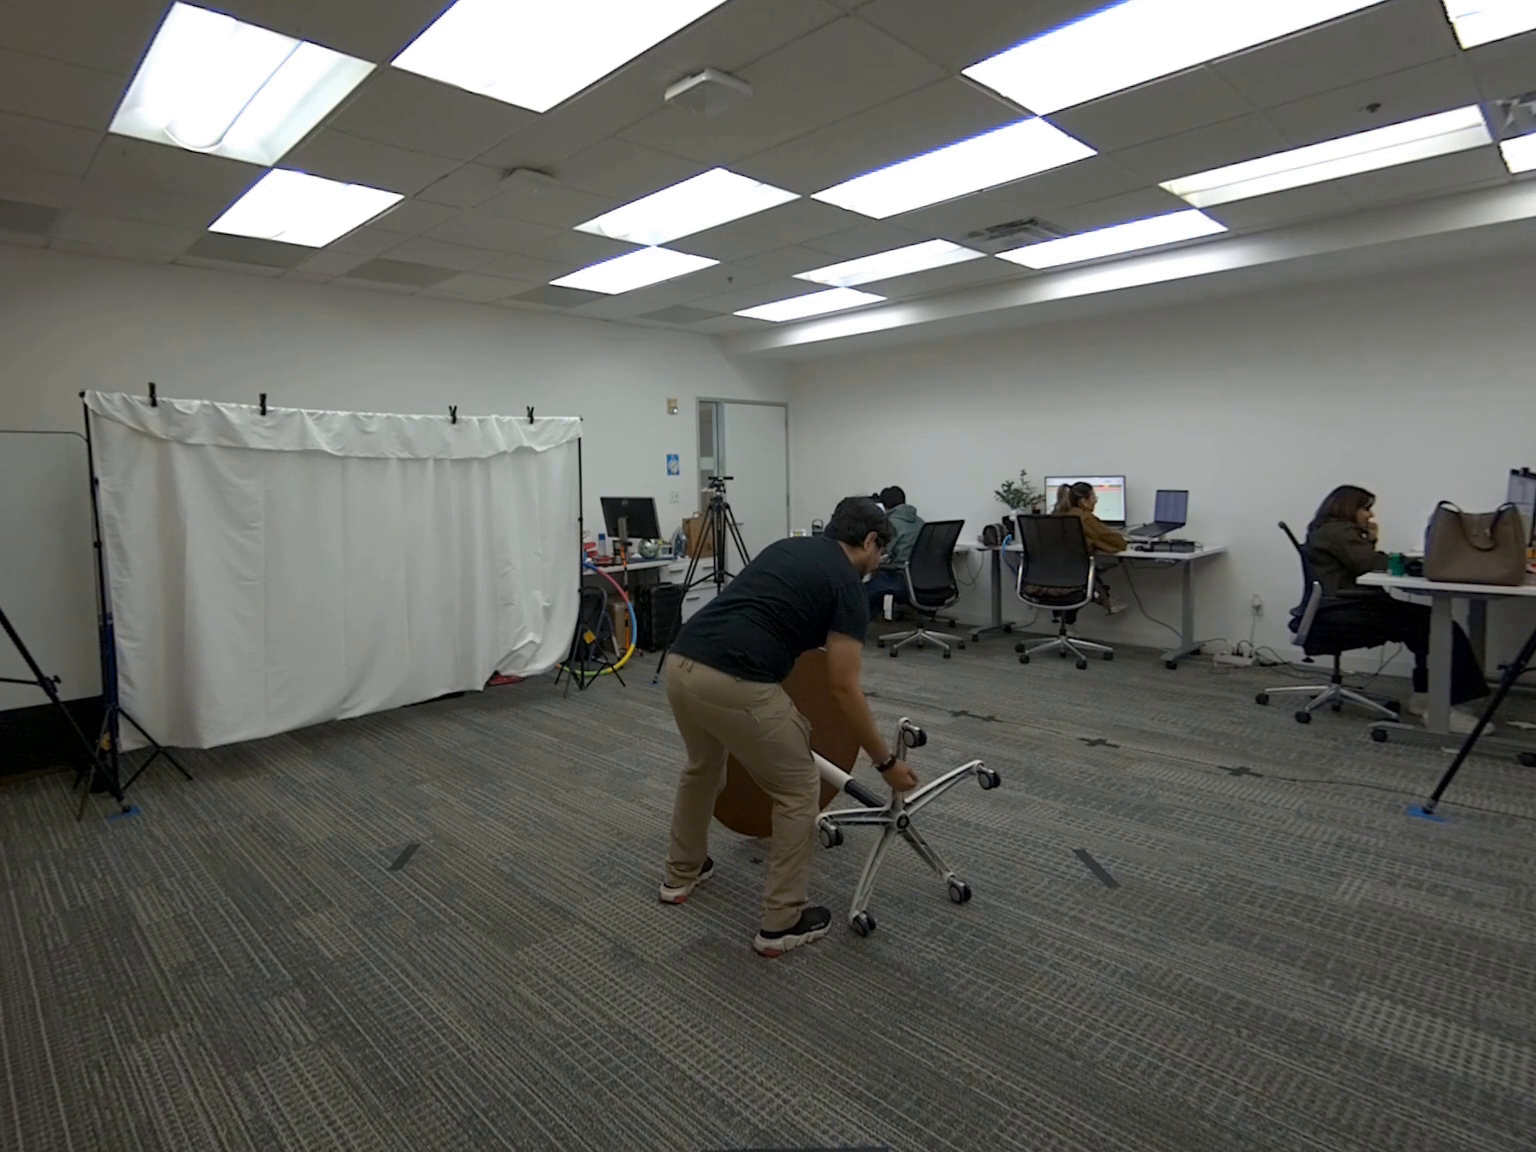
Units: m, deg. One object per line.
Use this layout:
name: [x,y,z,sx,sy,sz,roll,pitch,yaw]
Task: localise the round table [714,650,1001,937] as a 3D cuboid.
round table: [0.269,0.714,2.959,0.767,0.778,0.812,-4,13,-31]
